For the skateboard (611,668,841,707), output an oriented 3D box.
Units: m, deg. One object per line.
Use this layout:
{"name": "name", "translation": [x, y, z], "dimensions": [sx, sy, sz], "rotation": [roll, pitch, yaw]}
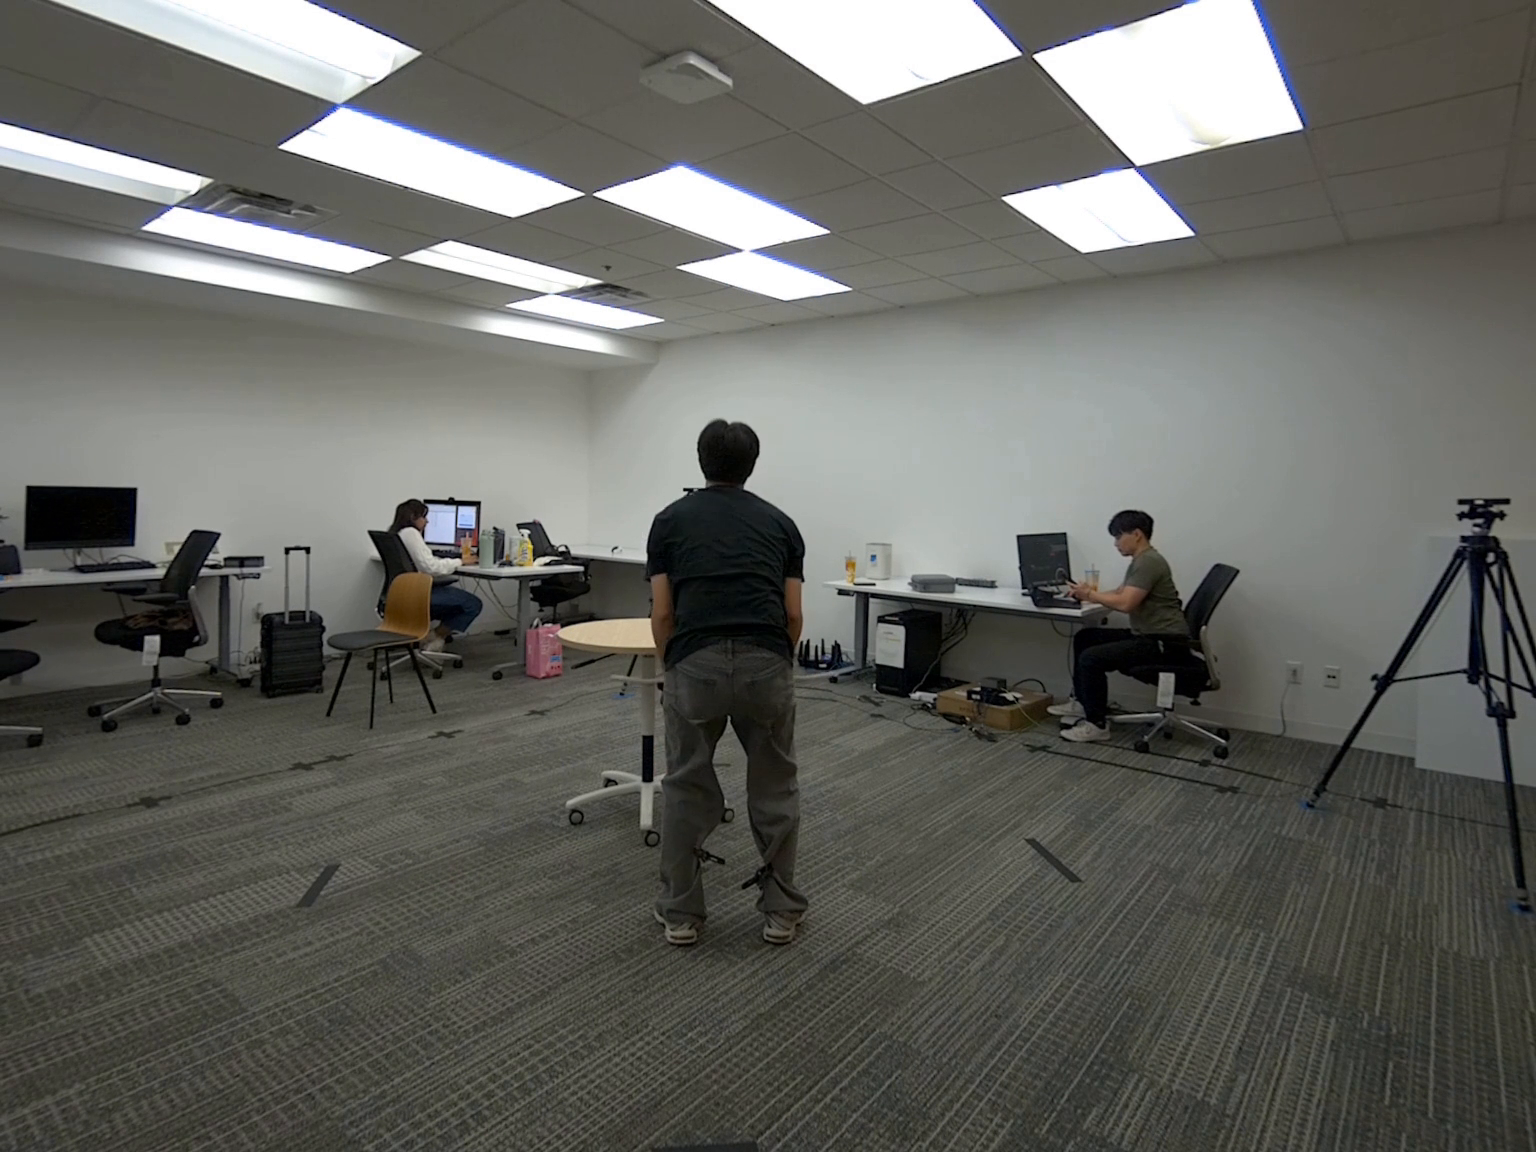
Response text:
{"name": "skateboard", "translation": [-0.156, 0.395, 2.978], "dimensions": [0.781, 0.111, 0.192], "rotation": [-1, -10, -5]}
